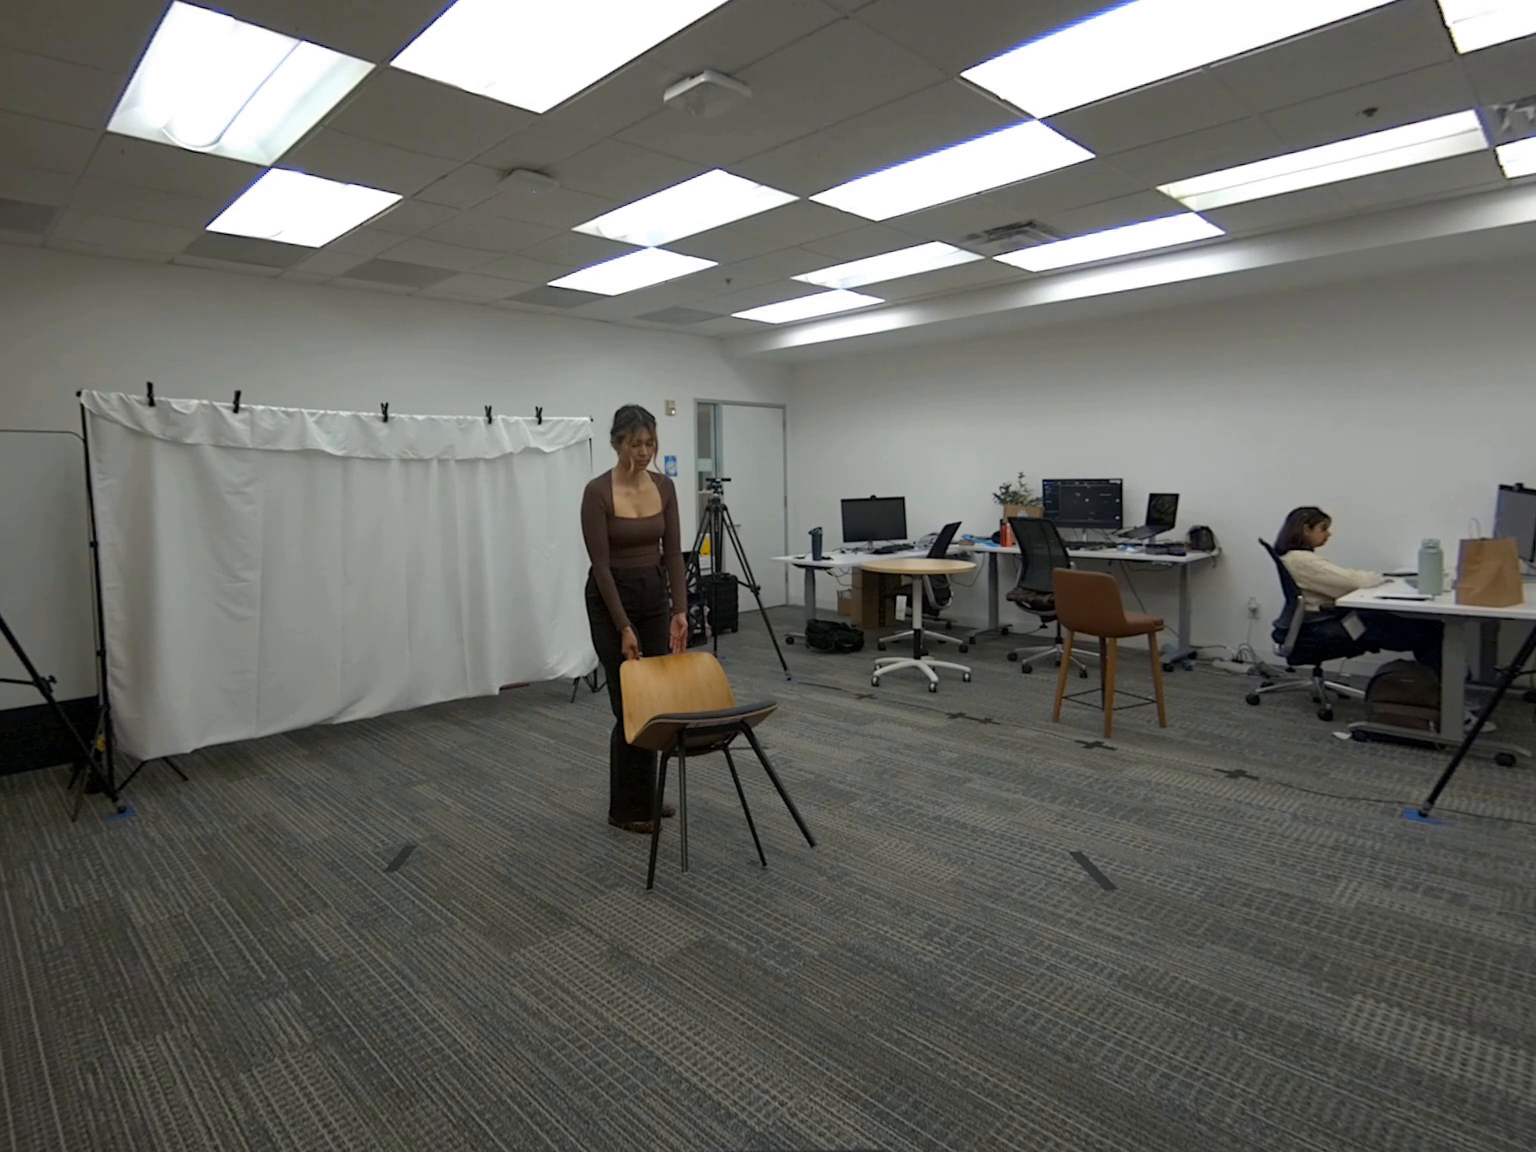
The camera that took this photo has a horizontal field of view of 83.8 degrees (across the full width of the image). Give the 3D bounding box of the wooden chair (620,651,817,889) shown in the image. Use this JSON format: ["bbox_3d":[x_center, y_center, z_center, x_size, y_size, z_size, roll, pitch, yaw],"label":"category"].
[{"bbox_3d":[-0.220,0.571,2.971,0.469,0.902,0.519,-3,-30,-23],"label":"wooden chair"}]
